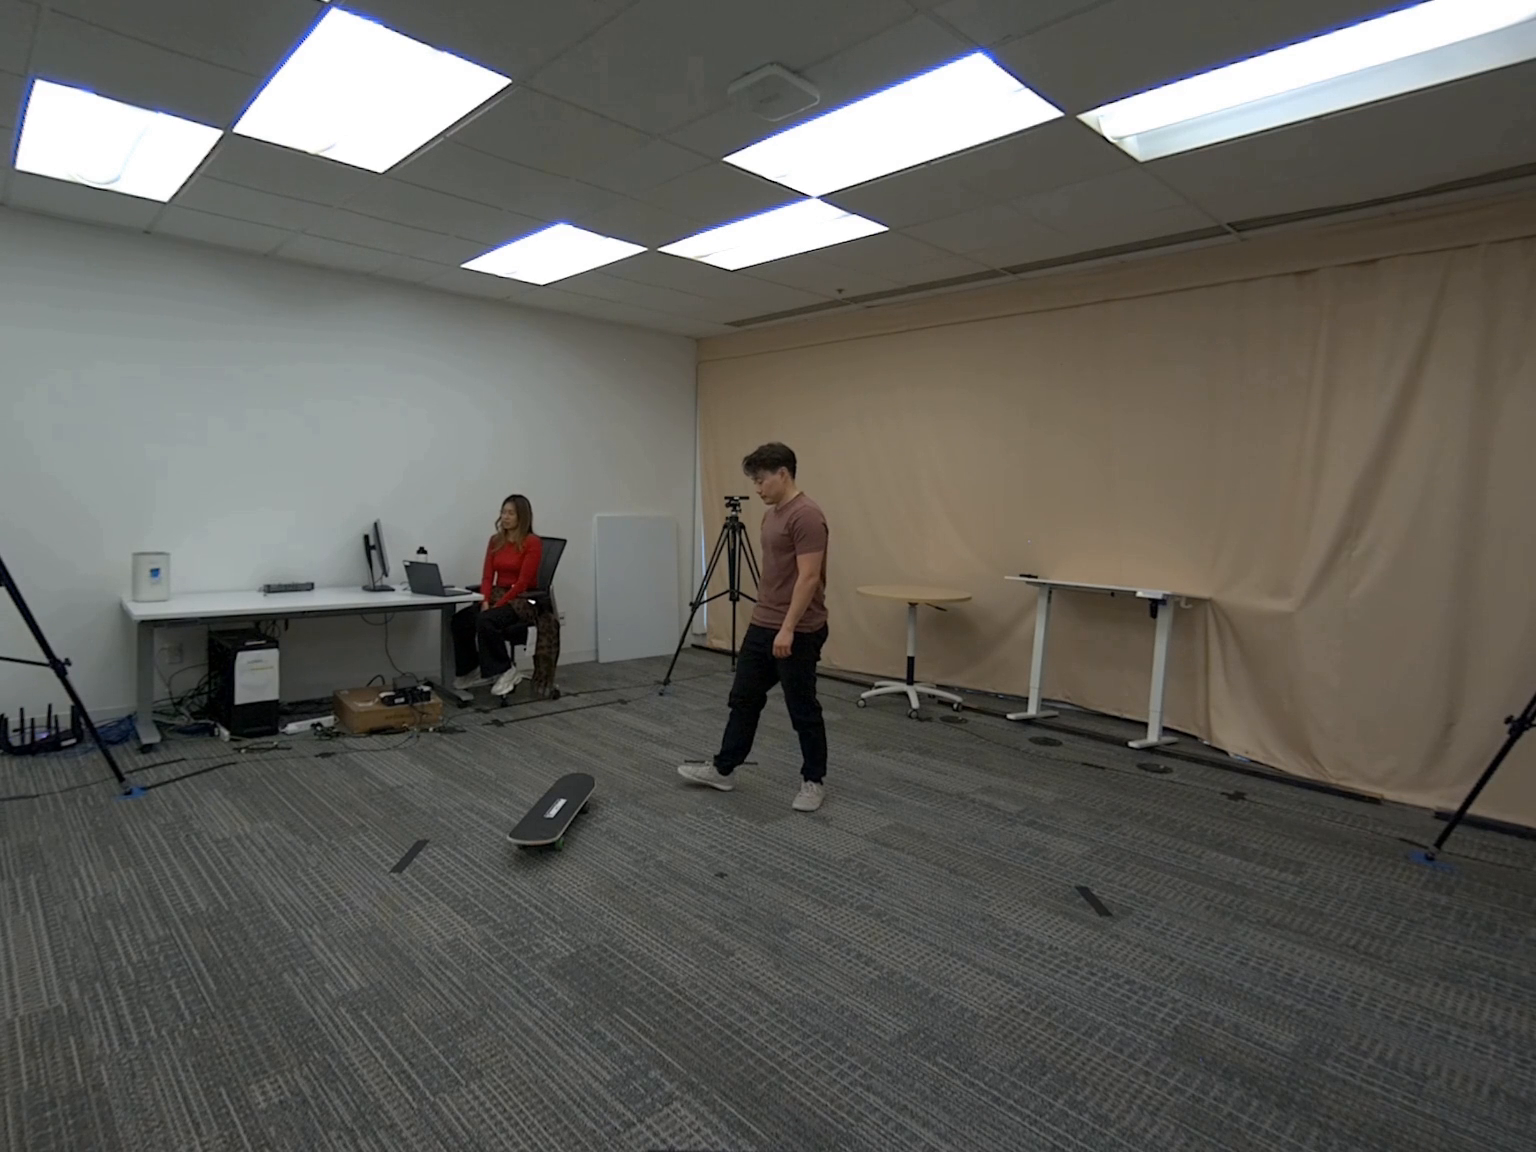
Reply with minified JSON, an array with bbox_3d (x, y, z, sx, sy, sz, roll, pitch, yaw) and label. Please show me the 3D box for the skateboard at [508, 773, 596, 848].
[{"bbox_3d":[-0.893,0.997,3.498,0.194,0.110,0.784,3,5,4],"label":"skateboard"}]
